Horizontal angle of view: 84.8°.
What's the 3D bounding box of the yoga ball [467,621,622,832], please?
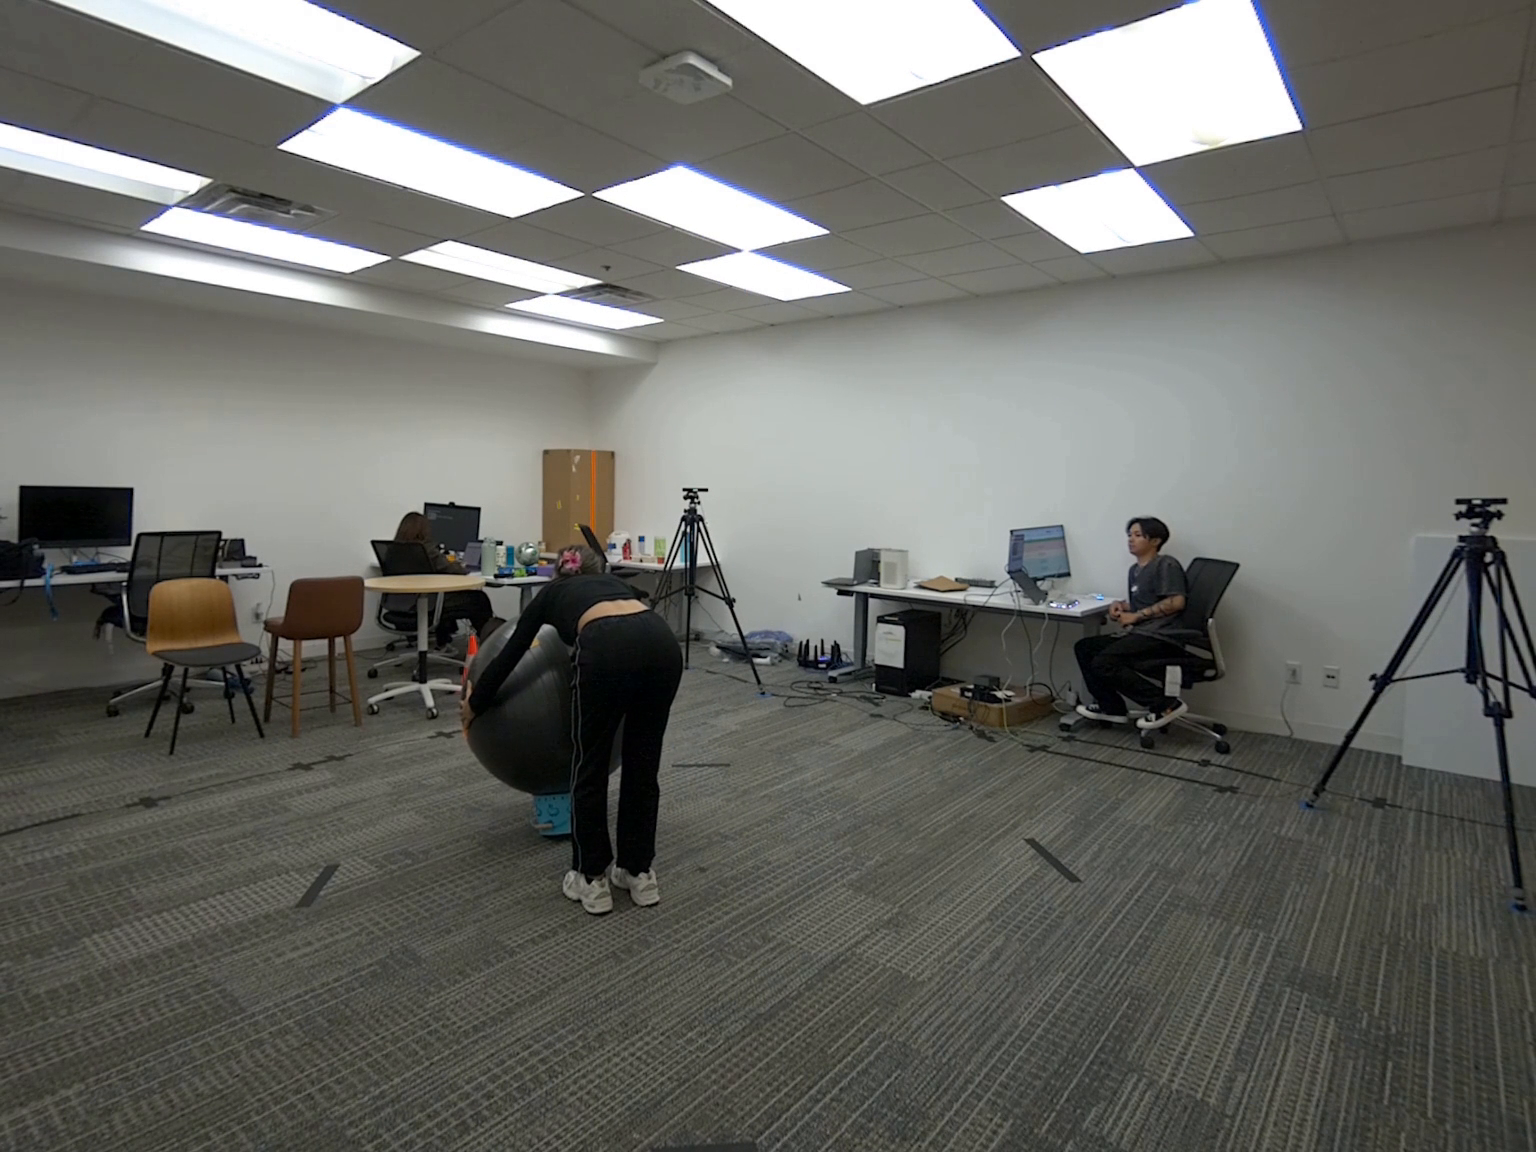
[{"bbox_3d":[-0.886,0.508,3.490,0.757,0.755,0.762,1,4,-2],"label":"yoga ball"}]
